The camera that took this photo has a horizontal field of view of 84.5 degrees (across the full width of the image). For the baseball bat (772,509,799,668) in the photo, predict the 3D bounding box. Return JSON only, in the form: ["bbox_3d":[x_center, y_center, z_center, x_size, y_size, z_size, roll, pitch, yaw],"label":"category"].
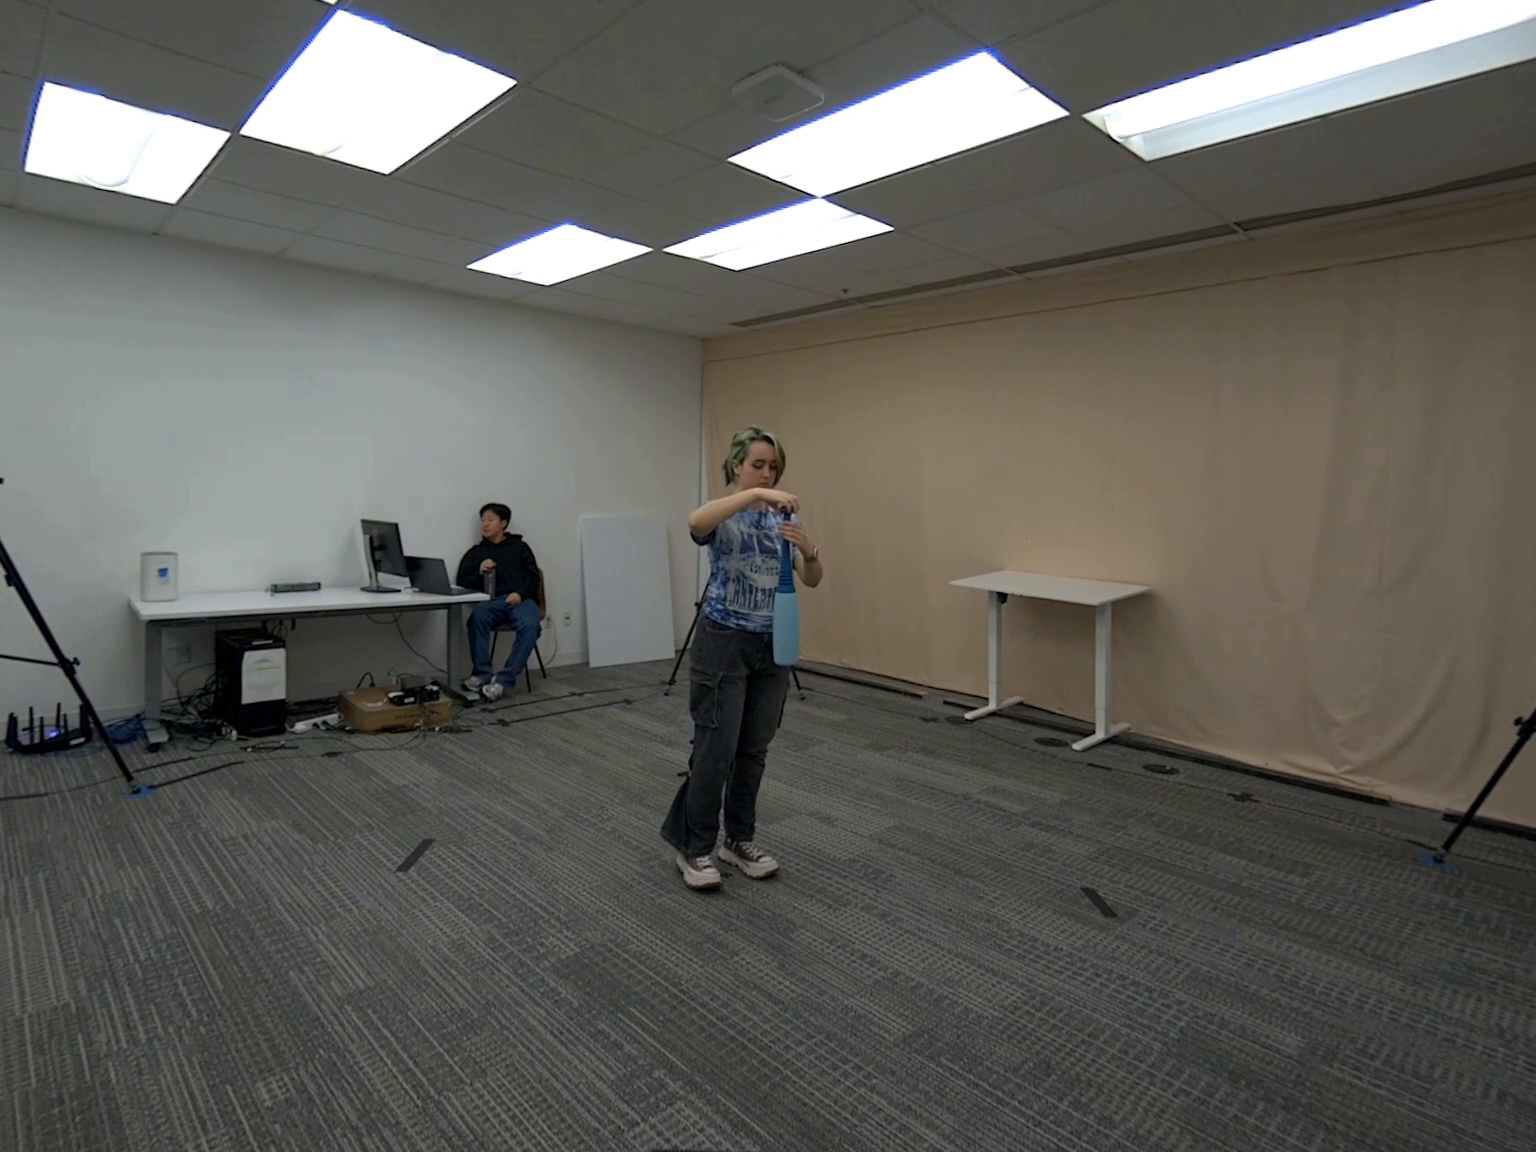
[{"bbox_3d":[0.058,0.037,2.855,0.089,0.541,0.089,-1,5,-1],"label":"baseball bat"}]
